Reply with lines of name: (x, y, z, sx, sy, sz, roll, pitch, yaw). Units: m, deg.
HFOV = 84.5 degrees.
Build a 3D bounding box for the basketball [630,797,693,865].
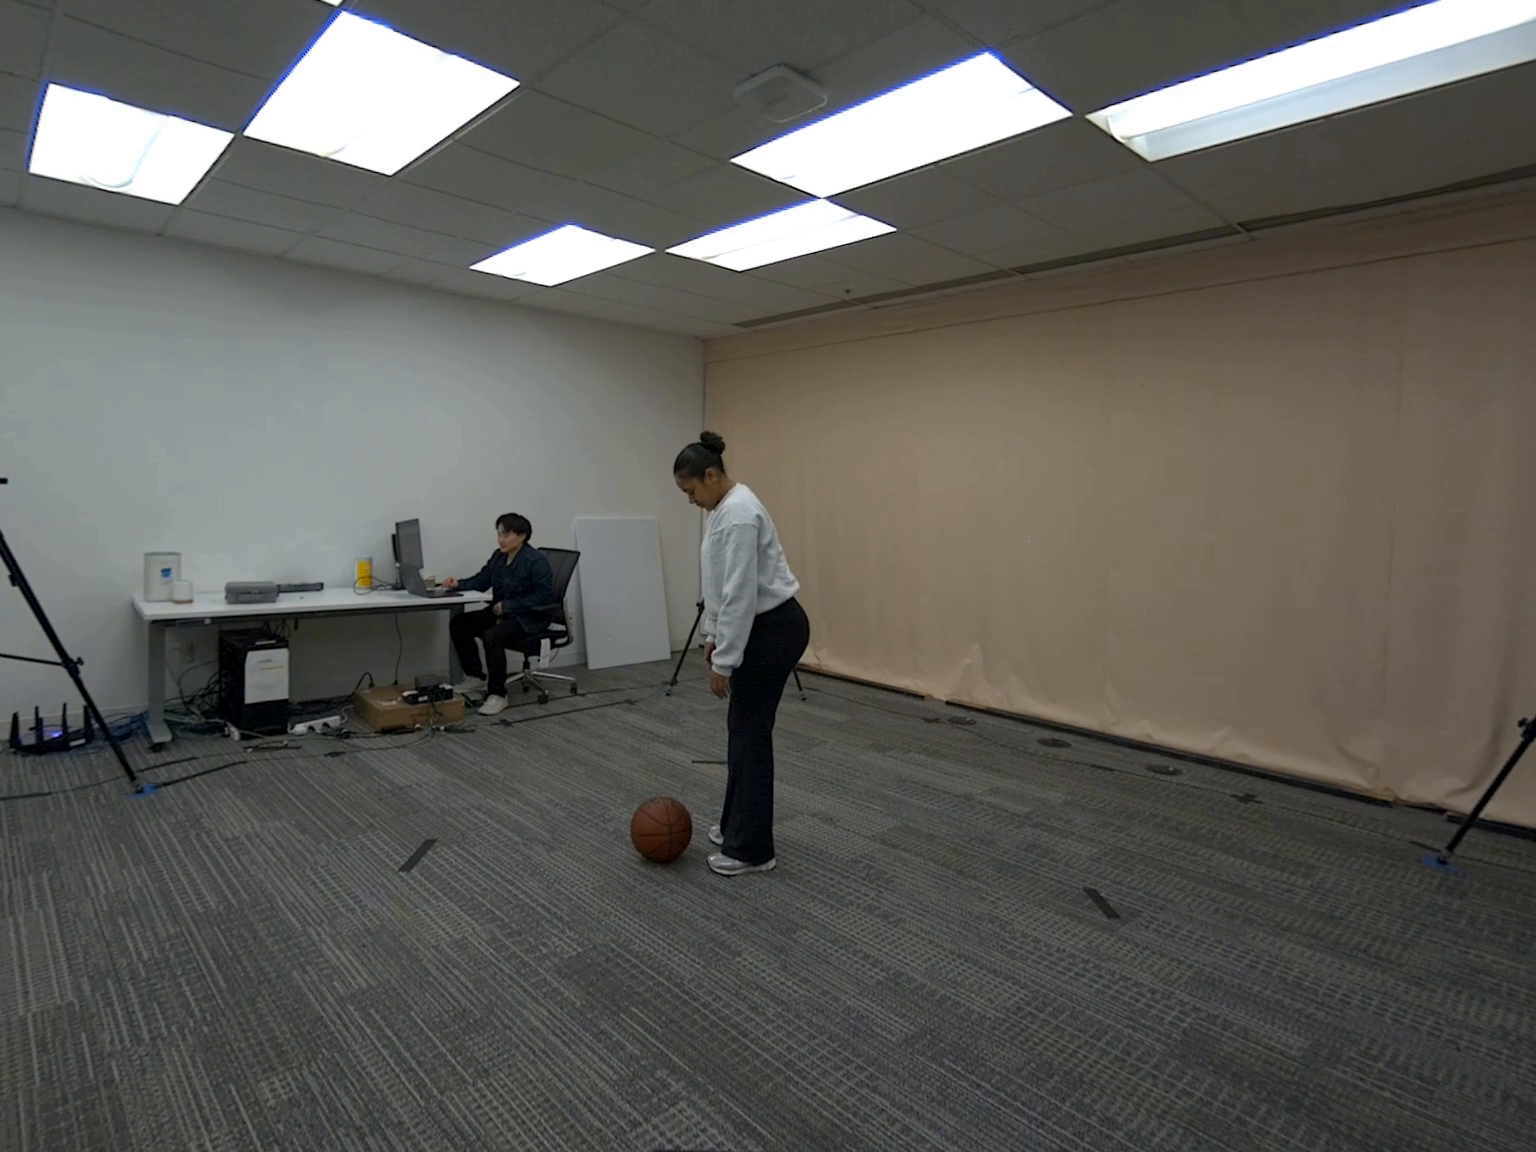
basketball: (-0.413, 0.964, 3.229, 0.236, 0.235, 0.237, 1, 4, -1)
